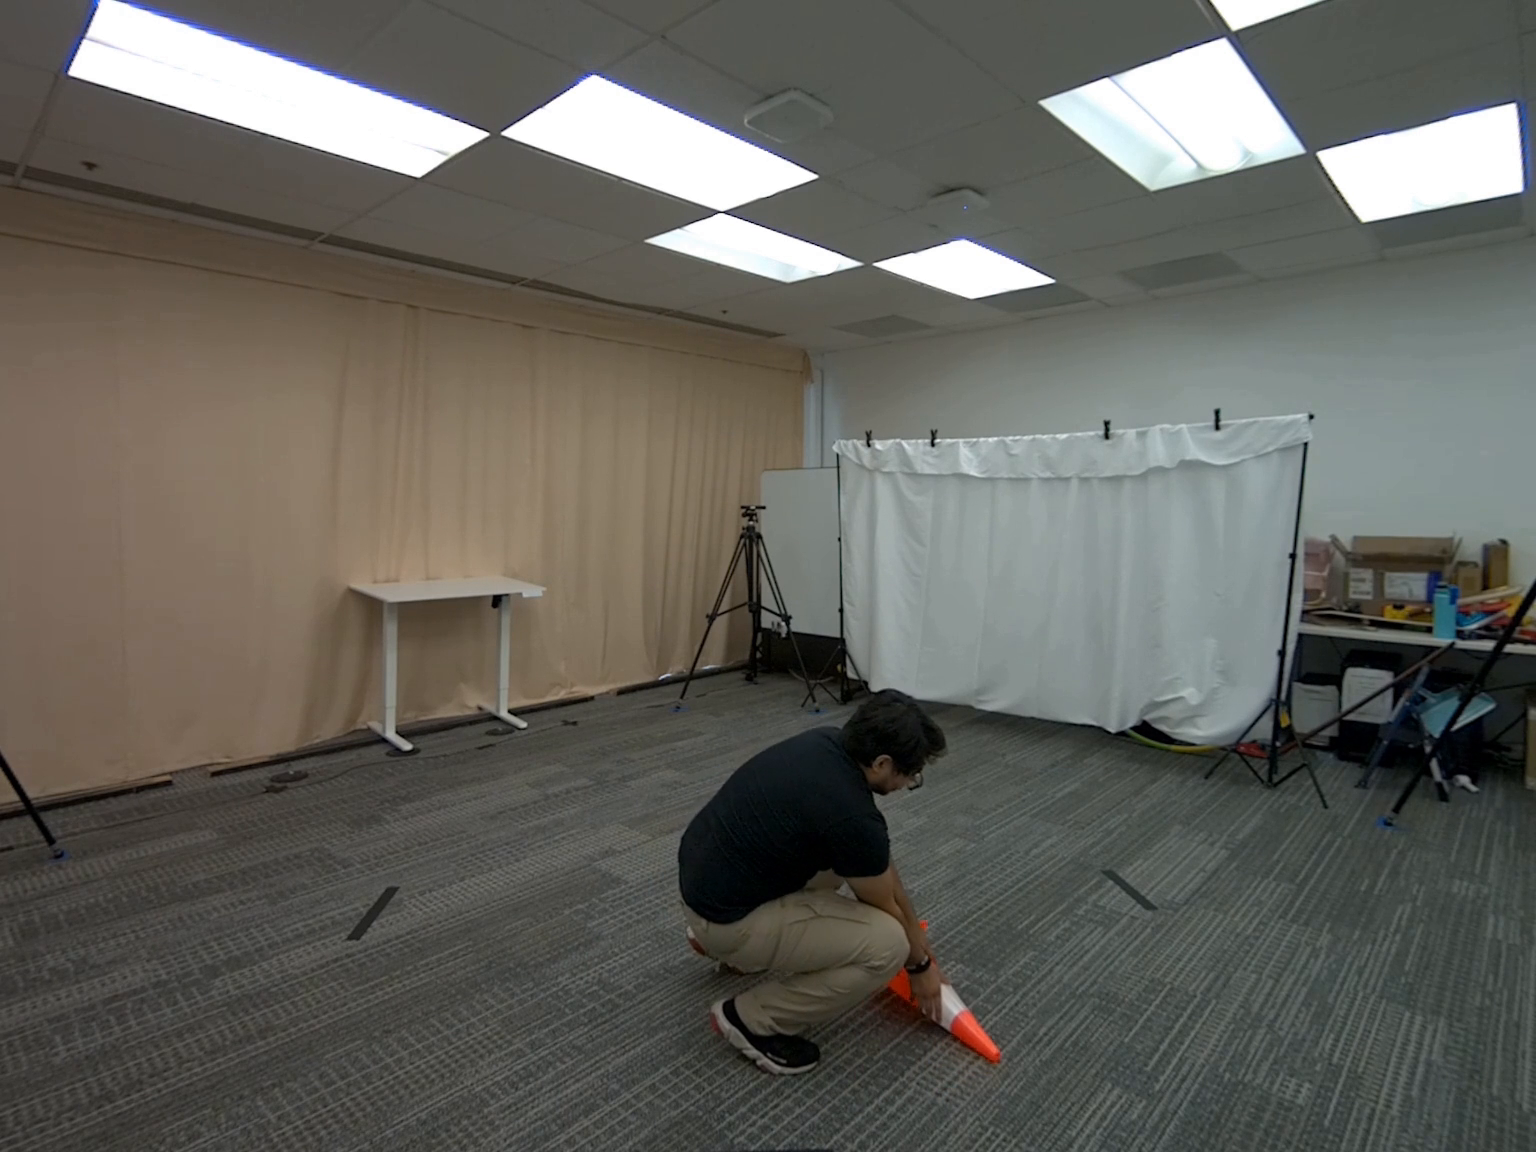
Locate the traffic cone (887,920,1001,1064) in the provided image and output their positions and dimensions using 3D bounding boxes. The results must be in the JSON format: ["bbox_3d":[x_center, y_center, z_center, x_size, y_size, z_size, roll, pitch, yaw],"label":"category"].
[{"bbox_3d":[0.476,1.160,2.257,0.197,0.203,0.398,-2,18,-37],"label":"traffic cone"}]
